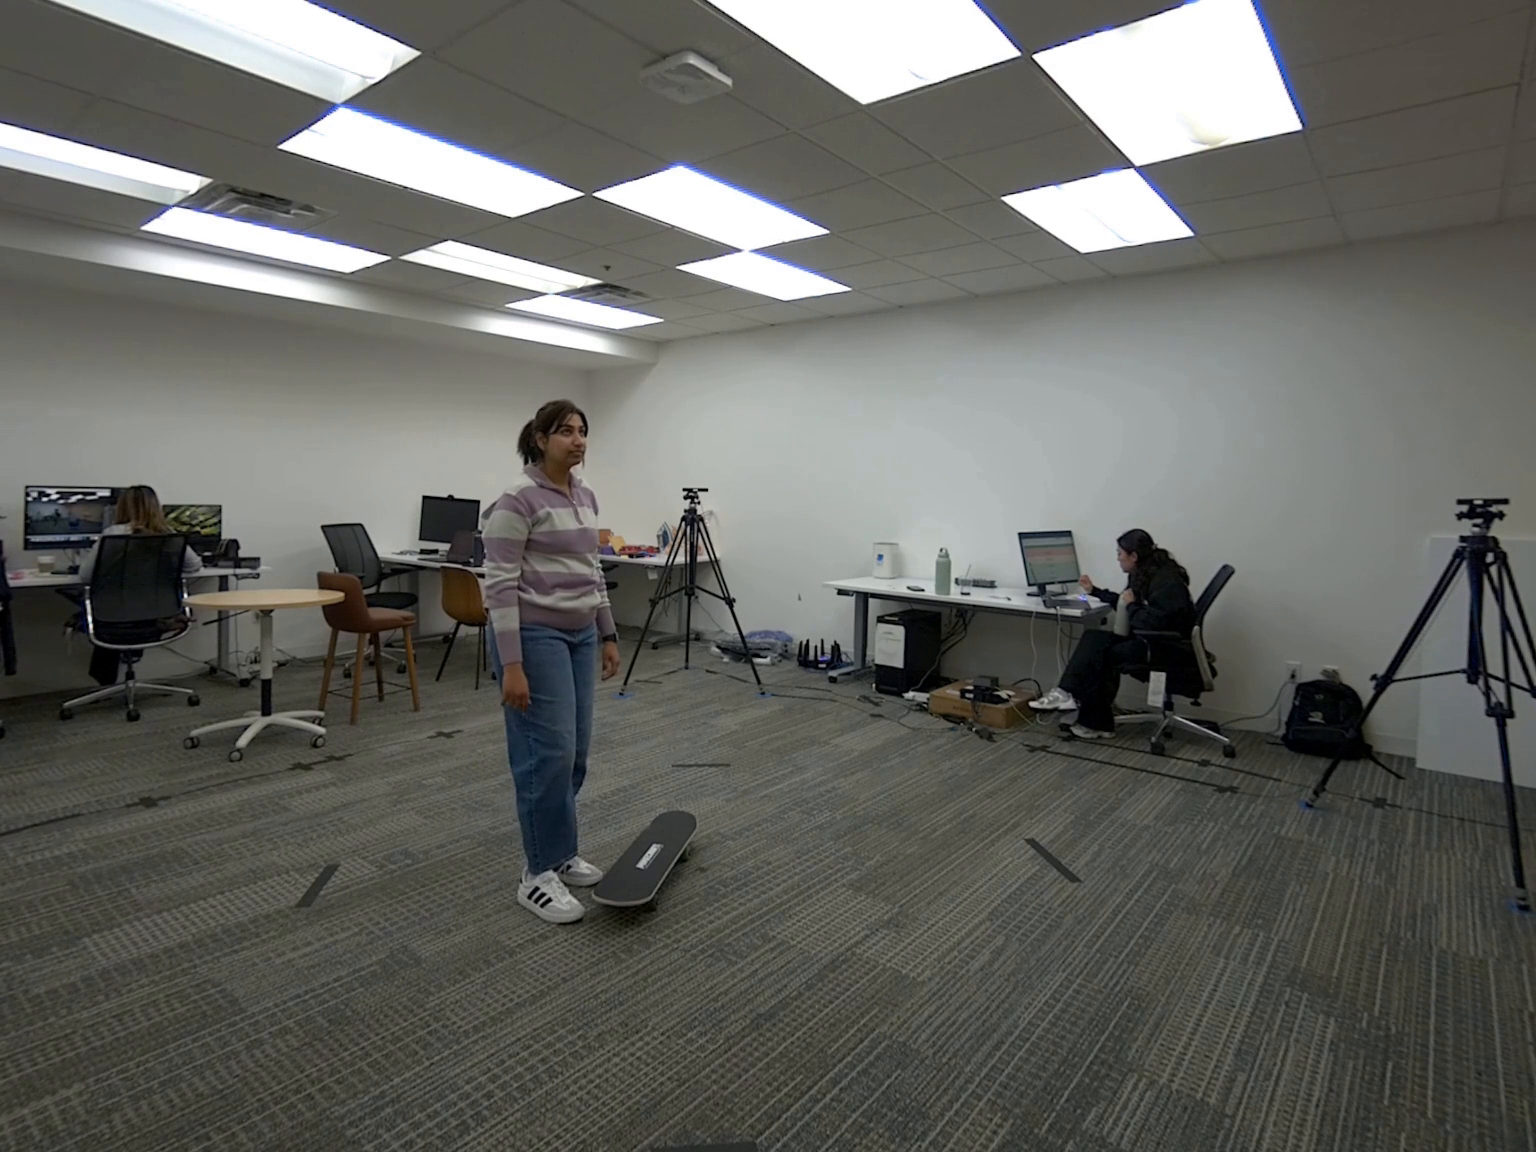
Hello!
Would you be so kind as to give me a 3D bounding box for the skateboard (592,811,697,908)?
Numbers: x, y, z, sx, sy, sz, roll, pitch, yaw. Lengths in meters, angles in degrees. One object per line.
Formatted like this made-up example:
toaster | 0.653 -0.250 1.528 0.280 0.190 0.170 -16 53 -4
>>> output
skateboard | -0.430 1.018 3.009 0.196 0.110 0.778 2 5 10
